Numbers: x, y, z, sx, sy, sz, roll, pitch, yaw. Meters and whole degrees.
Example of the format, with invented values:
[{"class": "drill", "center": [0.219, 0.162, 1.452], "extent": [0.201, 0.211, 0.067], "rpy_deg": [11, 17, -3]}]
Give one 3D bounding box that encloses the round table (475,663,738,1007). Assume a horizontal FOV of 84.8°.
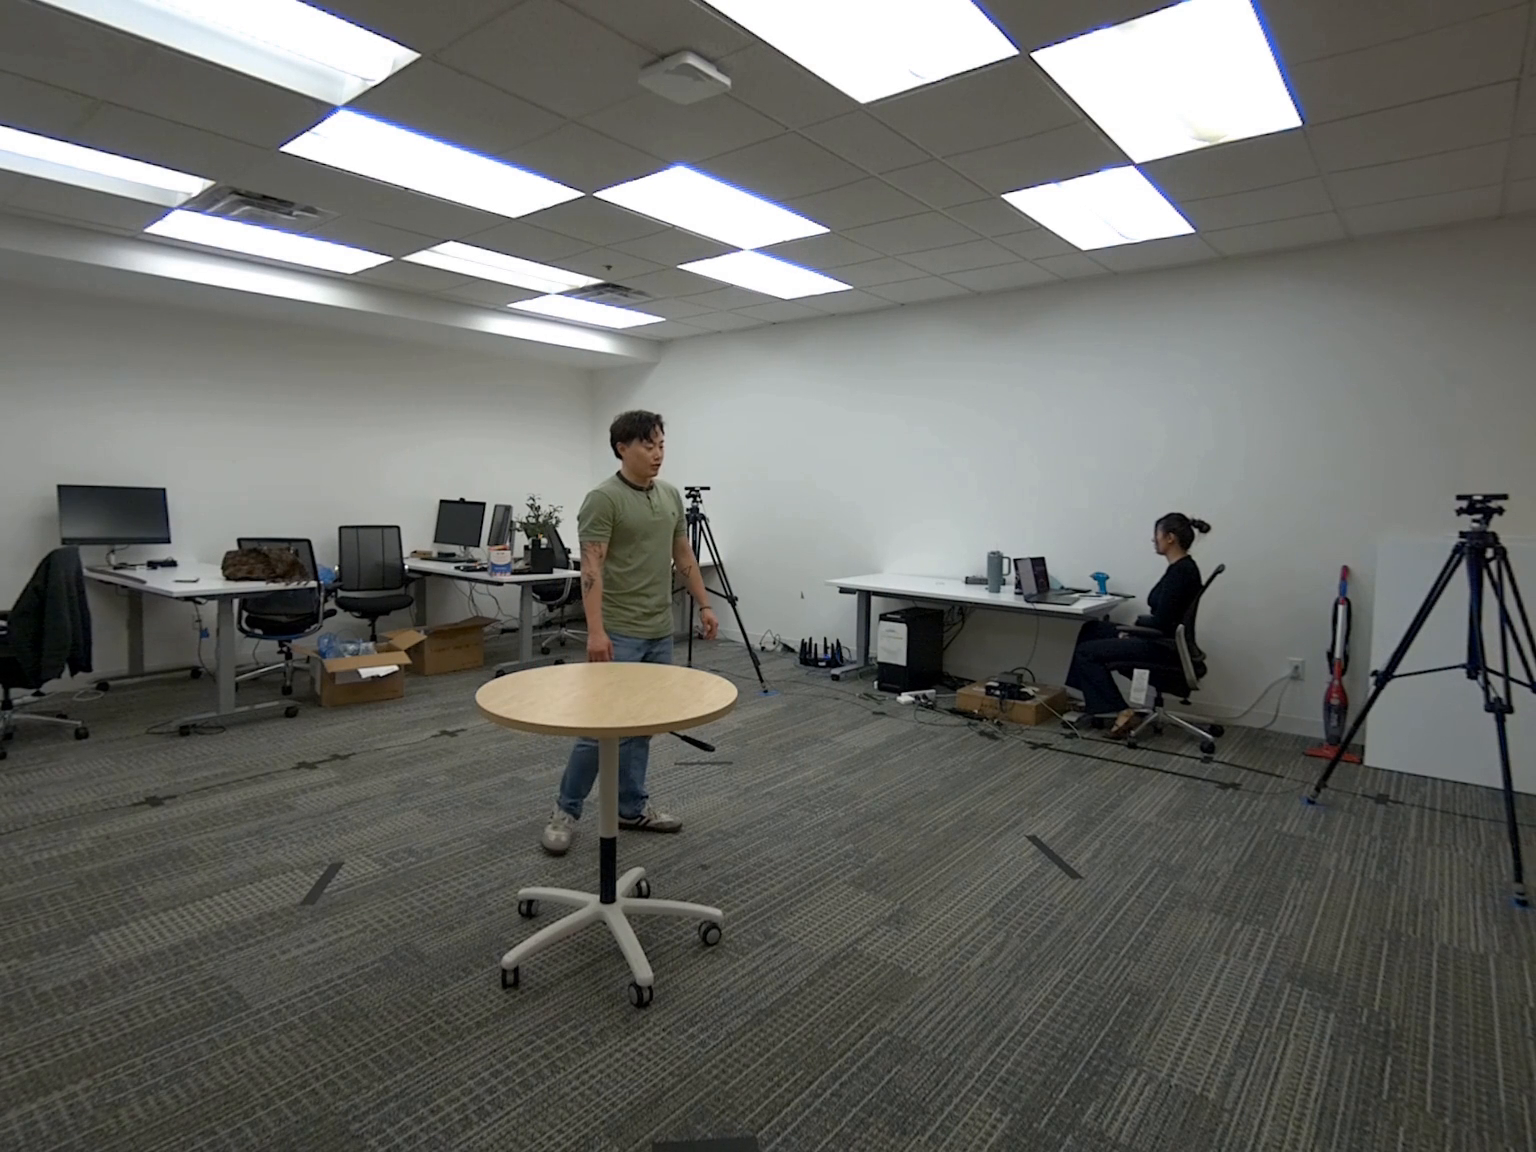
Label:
[{"class": "round table", "center": [-0.482, 0.728, 2.553], "extent": [0.763, 0.791, 0.768], "rpy_deg": [0, 5, -2]}]
